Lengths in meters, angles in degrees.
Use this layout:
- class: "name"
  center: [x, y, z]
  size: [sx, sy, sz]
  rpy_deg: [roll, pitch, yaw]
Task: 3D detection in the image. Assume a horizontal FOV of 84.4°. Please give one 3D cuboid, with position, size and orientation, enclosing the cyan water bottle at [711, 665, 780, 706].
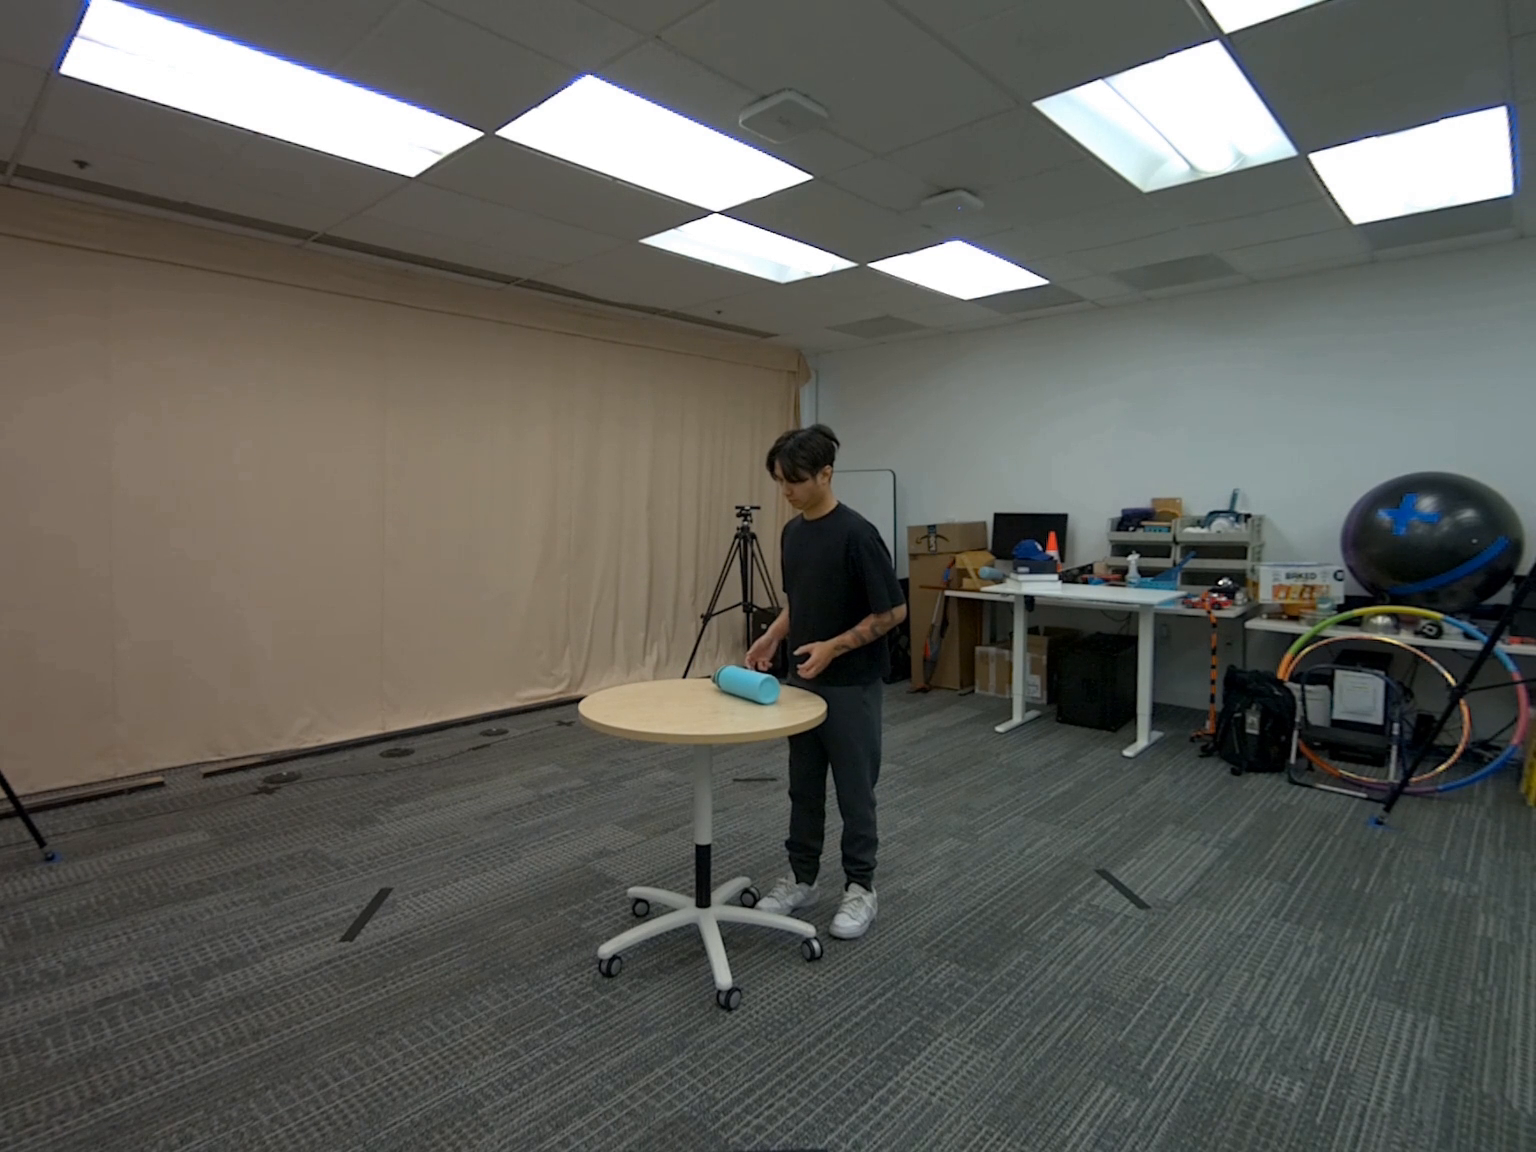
- class: "cyan water bottle"
  center: [-0.075, 0.343, 2.701]
  size: [0.090, 0.092, 0.292]
  rpy_deg: [-3, 4, -35]
